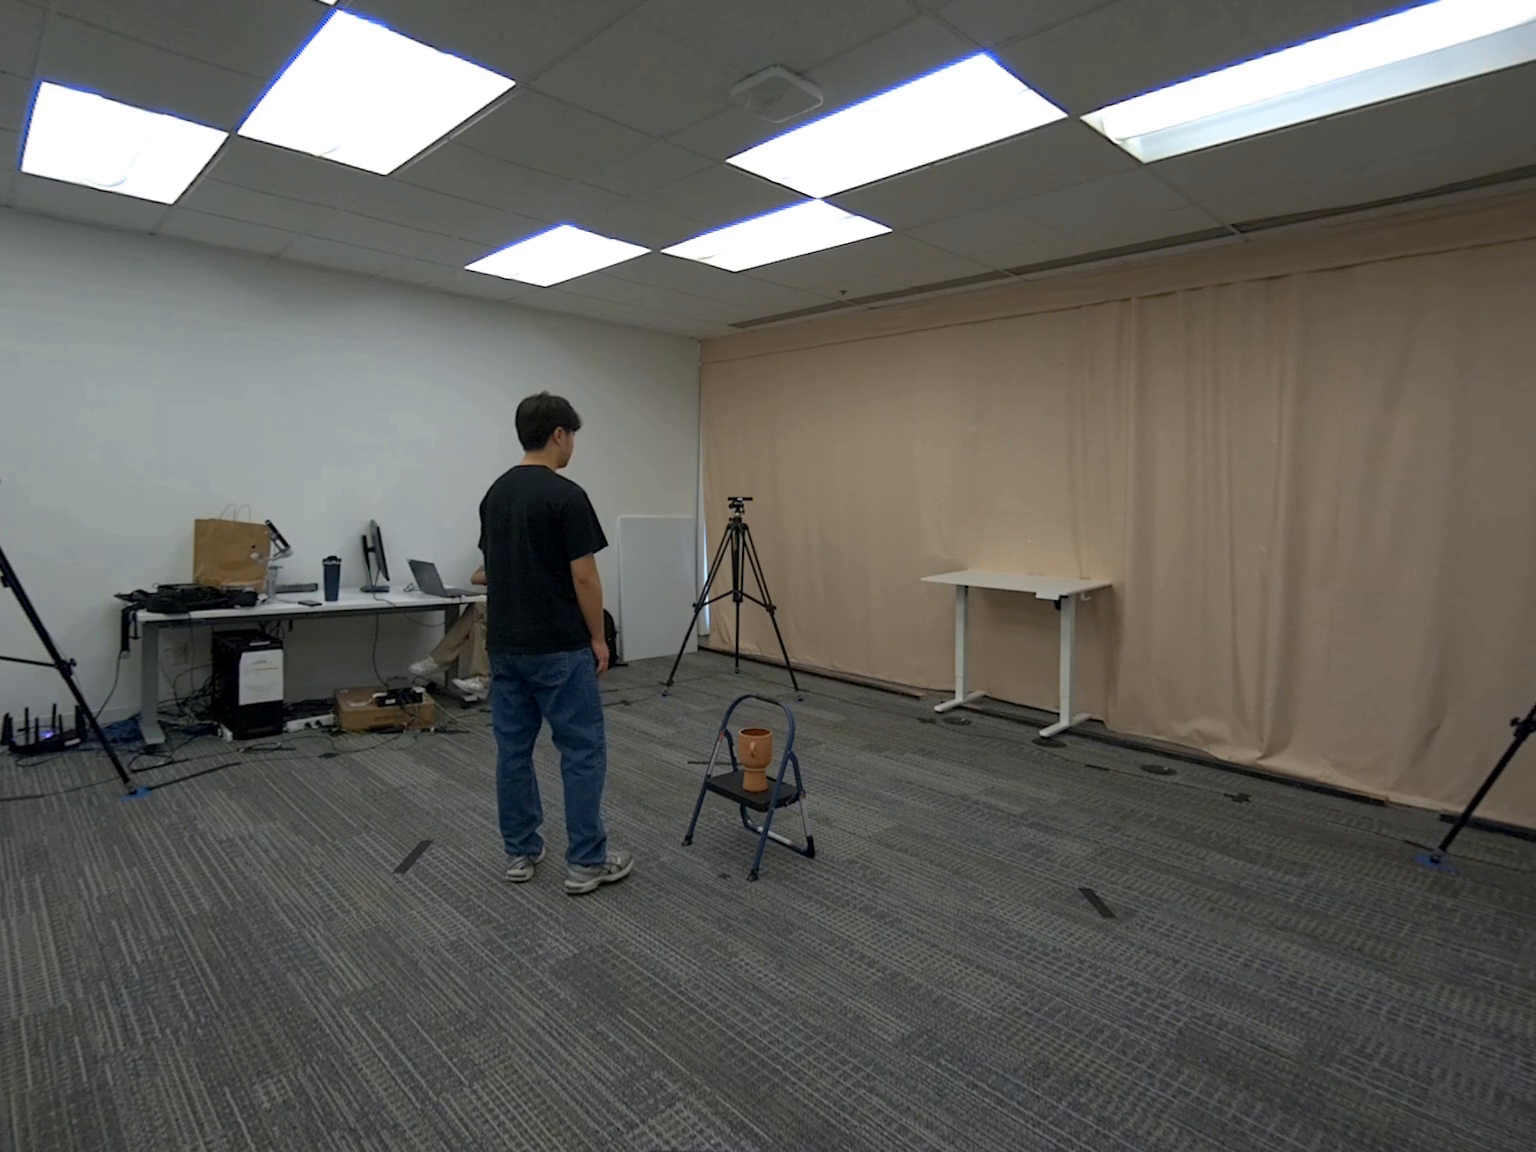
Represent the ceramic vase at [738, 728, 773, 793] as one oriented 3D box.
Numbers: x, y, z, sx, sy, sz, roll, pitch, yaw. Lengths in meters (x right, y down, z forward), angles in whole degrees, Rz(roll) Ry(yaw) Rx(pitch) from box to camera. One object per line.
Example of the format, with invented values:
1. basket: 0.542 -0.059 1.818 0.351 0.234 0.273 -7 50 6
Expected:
1. ceramic vase: -0.057 0.718 3.297 0.155 0.219 0.138 -4 5 -44
